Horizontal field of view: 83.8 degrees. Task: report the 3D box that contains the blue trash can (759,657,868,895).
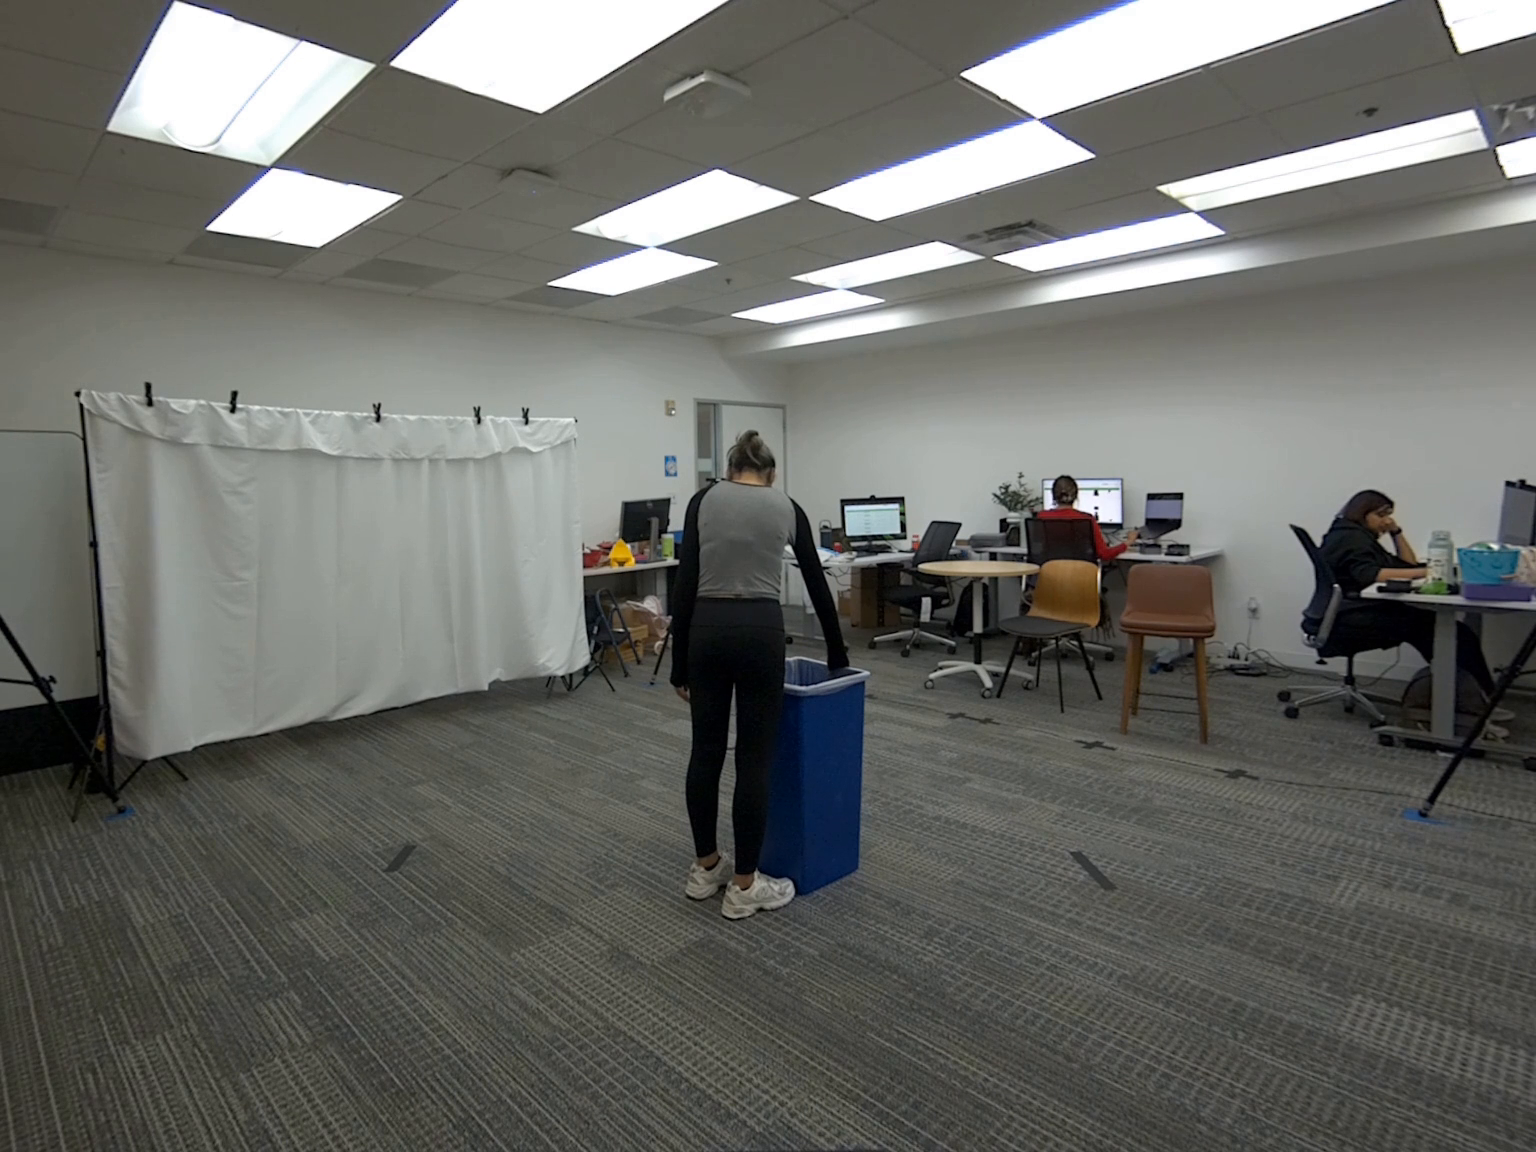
[{"bbox_3d":[0.126,0.691,3.031,0.368,0.711,0.385,-5,5,-44],"label":"blue trash can"}]
